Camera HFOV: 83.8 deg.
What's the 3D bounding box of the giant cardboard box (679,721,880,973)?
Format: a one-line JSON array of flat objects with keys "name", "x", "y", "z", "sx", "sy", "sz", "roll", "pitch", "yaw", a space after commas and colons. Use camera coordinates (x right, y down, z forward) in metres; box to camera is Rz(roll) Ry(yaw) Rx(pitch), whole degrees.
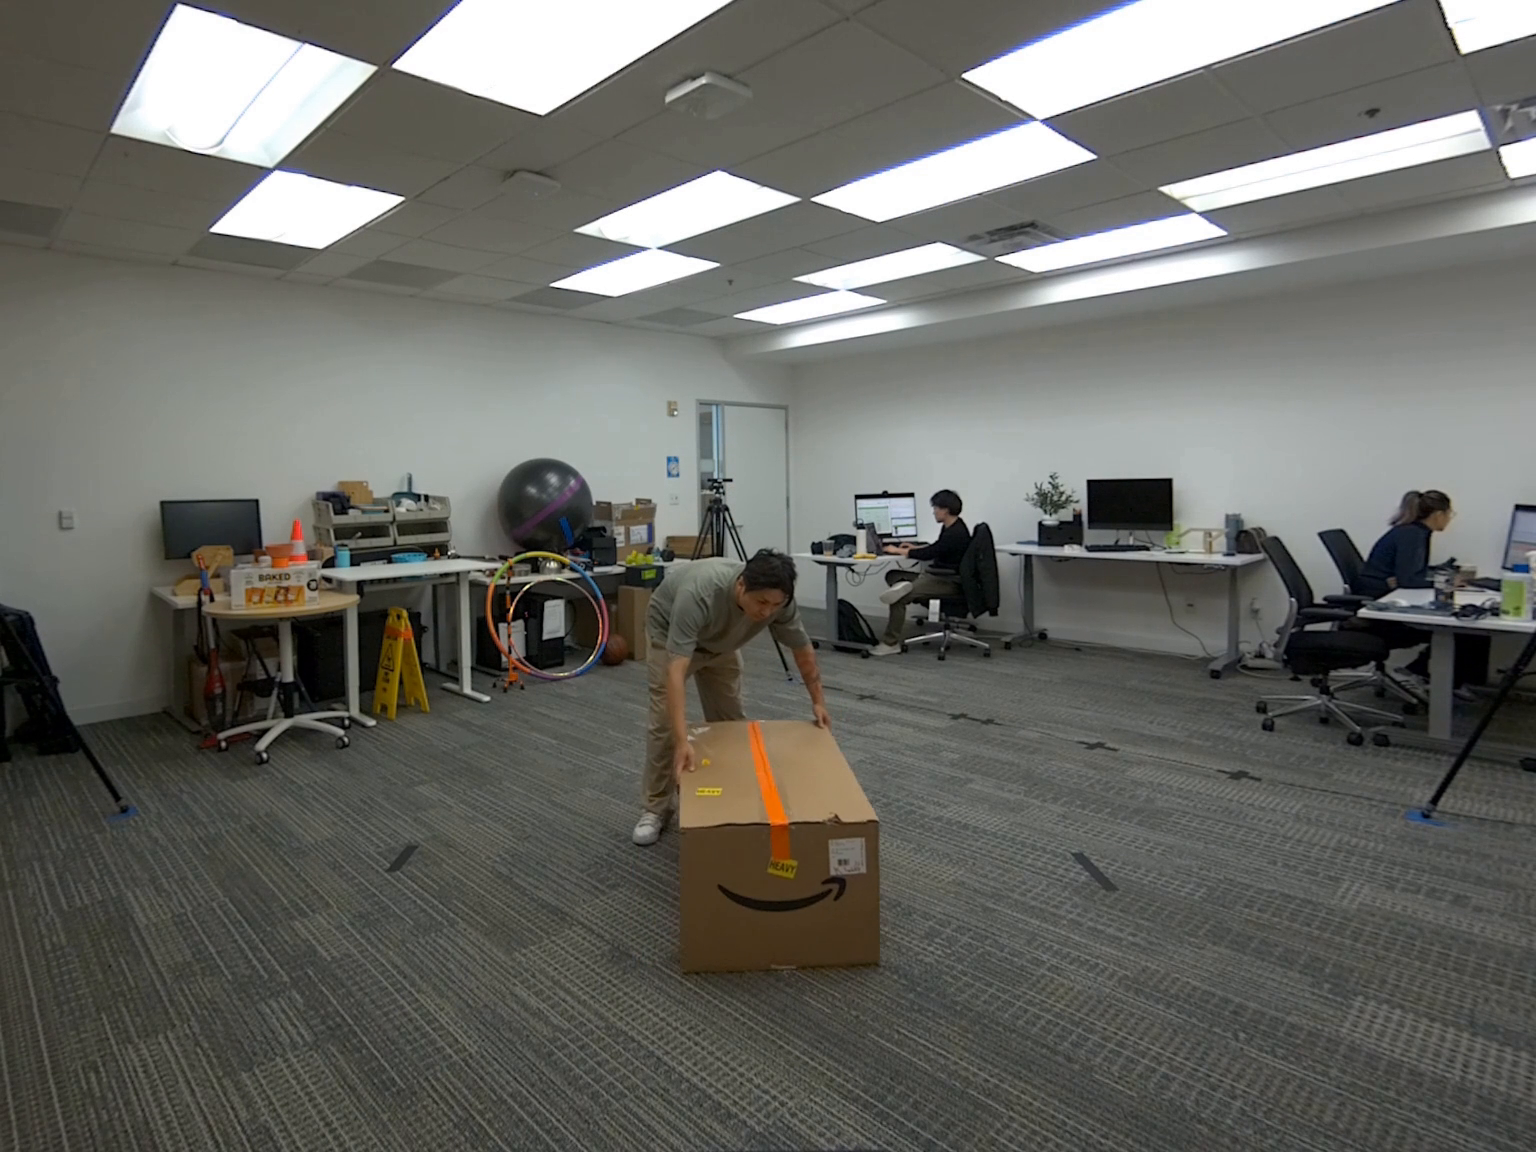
[{"name": "giant cardboard box", "x": -0.010, "y": 0.849, "z": 2.917, "sx": 0.575, "sy": 0.424, "sz": 1.034, "roll": -1, "pitch": 6, "yaw": -5}]
